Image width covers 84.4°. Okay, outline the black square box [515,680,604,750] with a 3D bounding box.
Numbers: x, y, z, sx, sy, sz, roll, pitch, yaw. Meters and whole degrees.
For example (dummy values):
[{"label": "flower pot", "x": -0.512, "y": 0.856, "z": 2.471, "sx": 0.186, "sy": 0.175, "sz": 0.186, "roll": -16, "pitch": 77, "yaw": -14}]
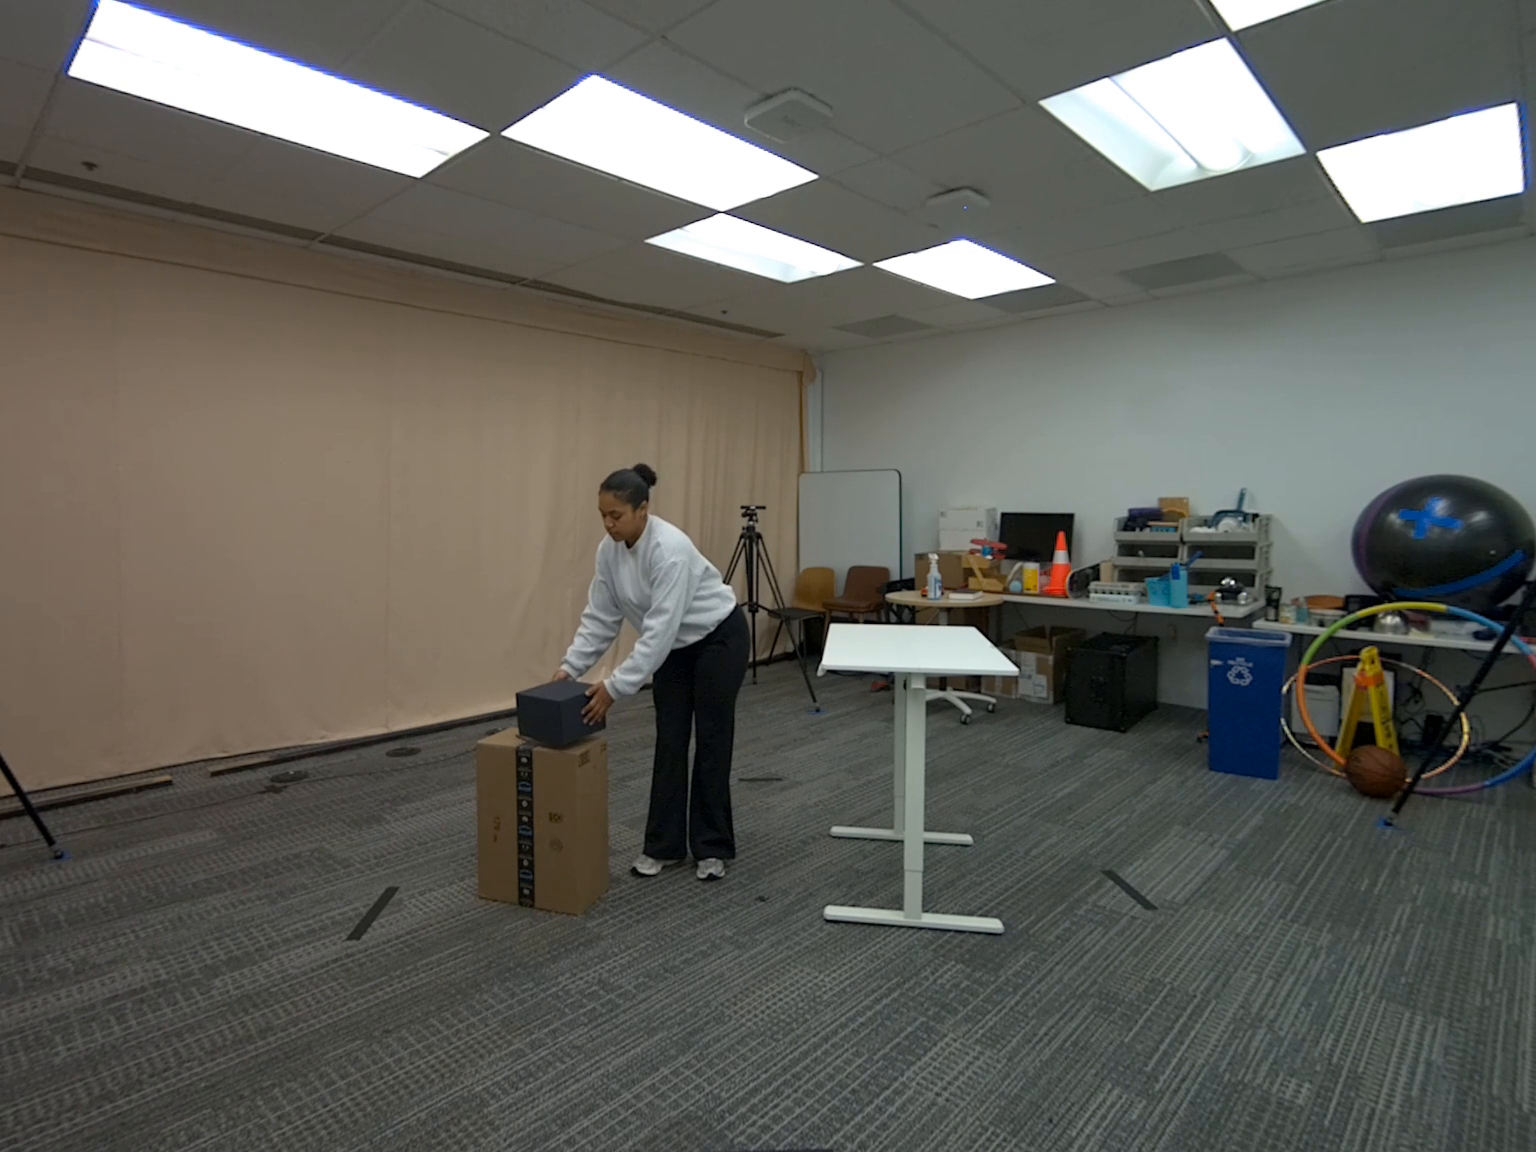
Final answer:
[{"label": "black square box", "x": -0.717, "y": 0.463, "z": 2.965, "sx": 0.235, "sy": 0.155, "sz": 0.211, "roll": 3, "pitch": 7, "yaw": 35}]
